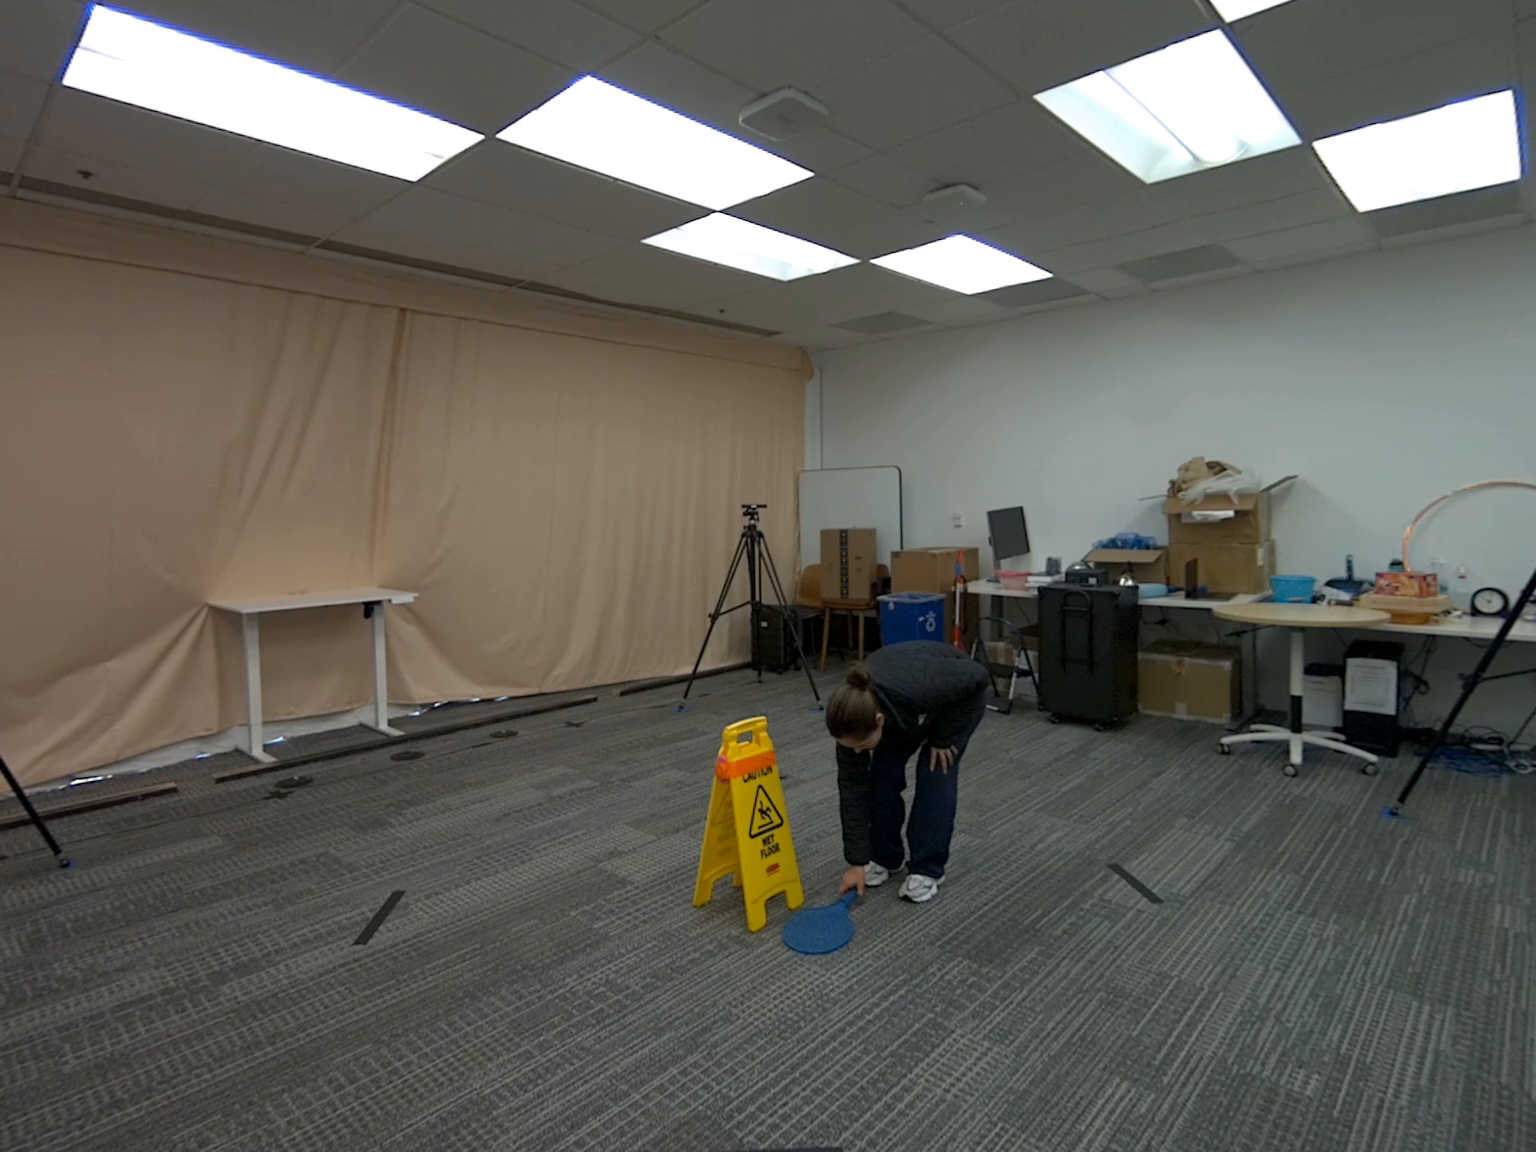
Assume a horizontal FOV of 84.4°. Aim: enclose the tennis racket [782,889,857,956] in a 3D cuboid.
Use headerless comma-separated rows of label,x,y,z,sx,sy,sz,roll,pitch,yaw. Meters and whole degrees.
tennis racket,0.223,1.128,2.790,0.220,0.031,0.422,5,11,31
